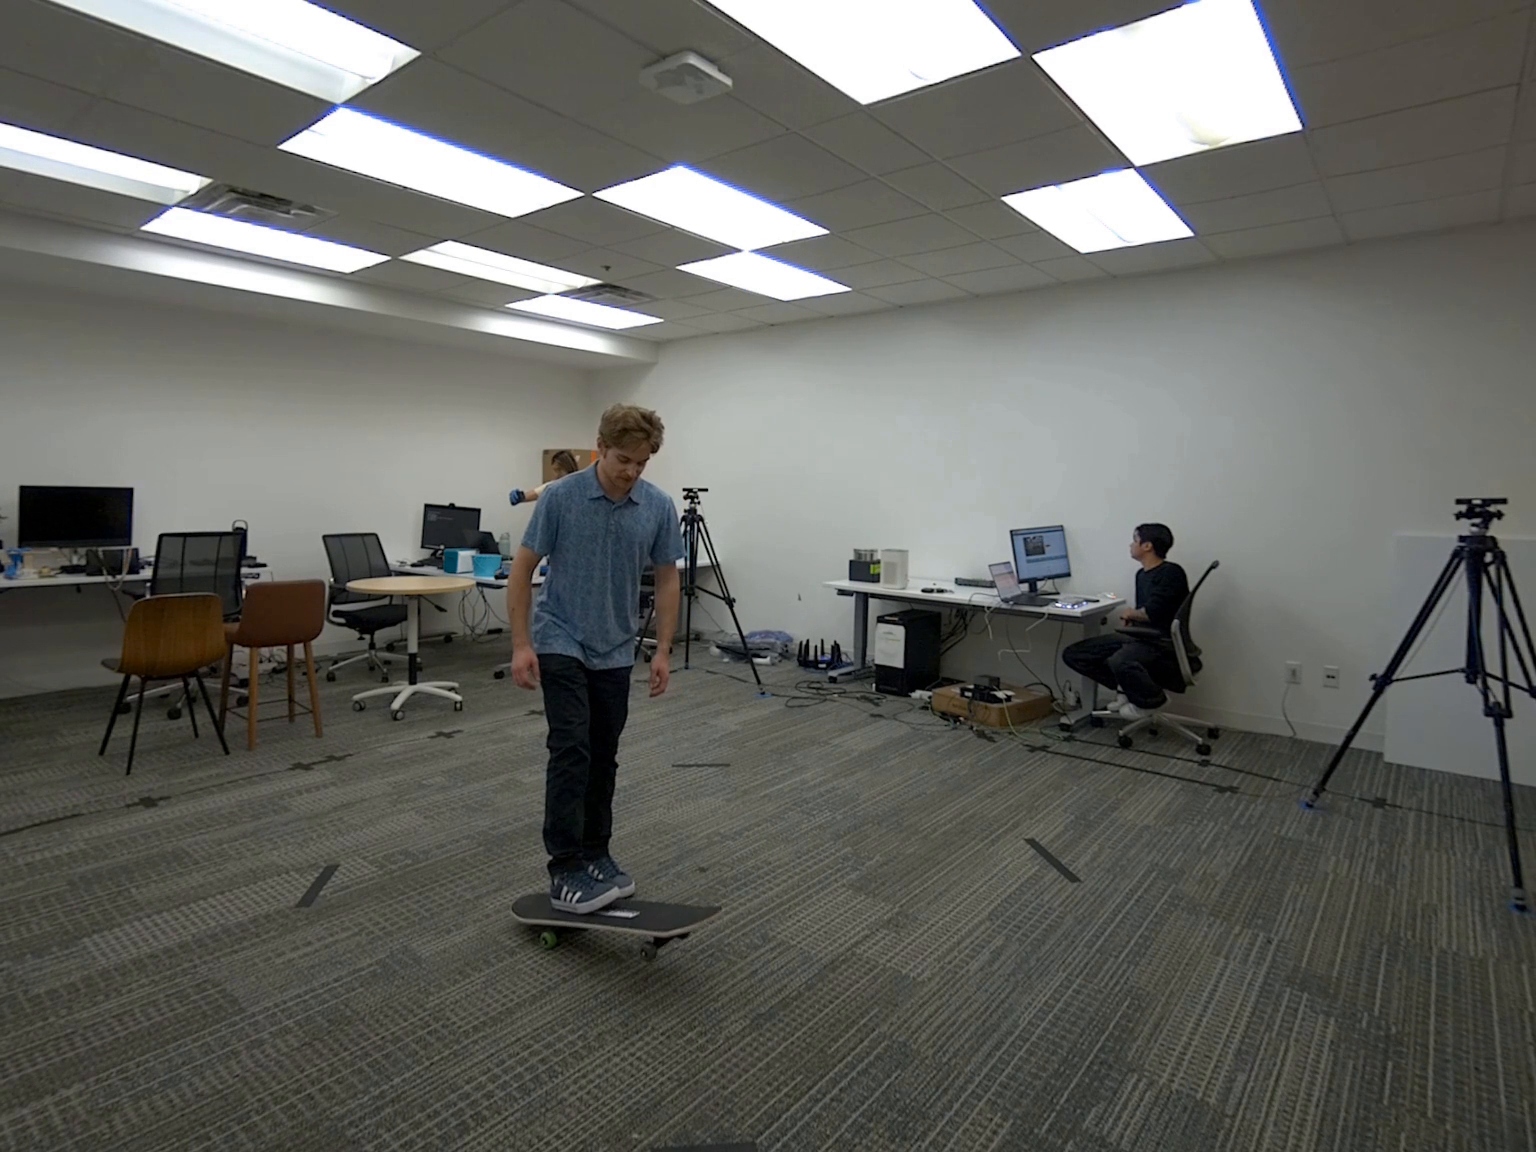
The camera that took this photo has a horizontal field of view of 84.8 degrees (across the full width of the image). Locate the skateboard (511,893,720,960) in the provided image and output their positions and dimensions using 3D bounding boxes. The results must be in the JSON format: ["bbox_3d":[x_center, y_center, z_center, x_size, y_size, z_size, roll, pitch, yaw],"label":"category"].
[{"bbox_3d":[-0.473,1.028,2.517,0.803,0.111,0.188,-11,-3,32],"label":"skateboard"}]
